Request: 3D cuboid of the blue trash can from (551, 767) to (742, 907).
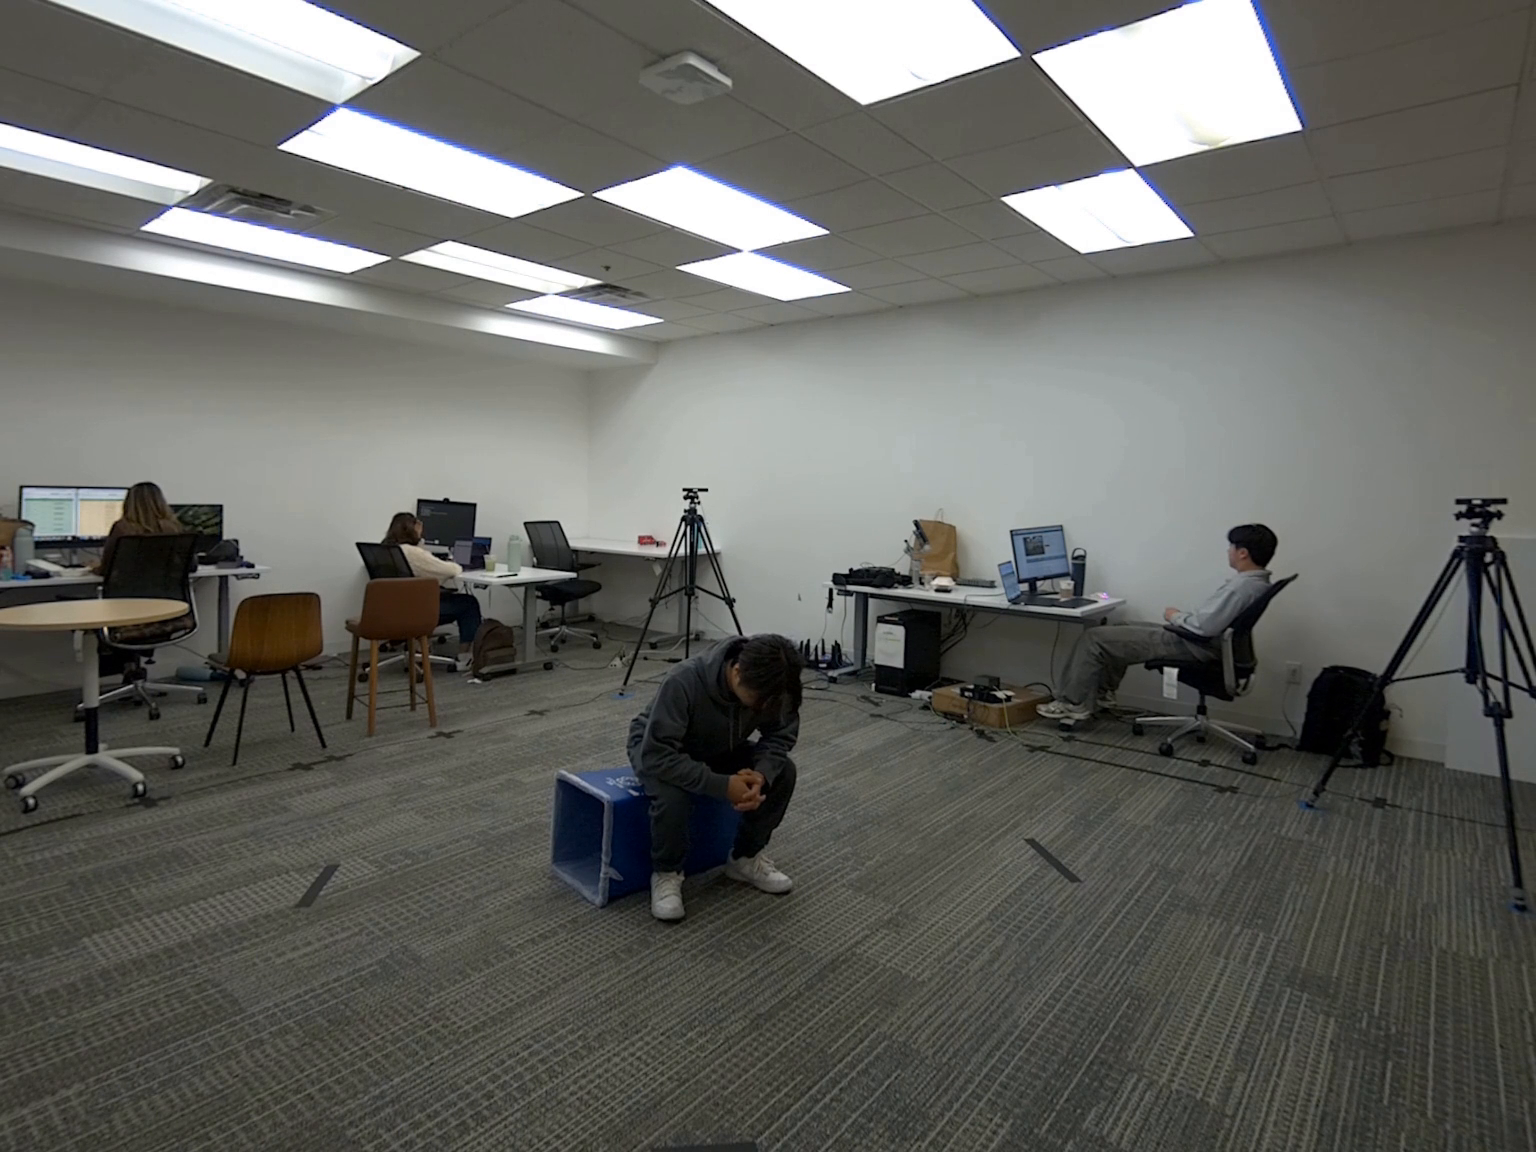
[{"bbox_3d":[-0.413,0.893,3.154,0.691,0.377,0.387,1,3,-41],"label":"blue trash can"}]
